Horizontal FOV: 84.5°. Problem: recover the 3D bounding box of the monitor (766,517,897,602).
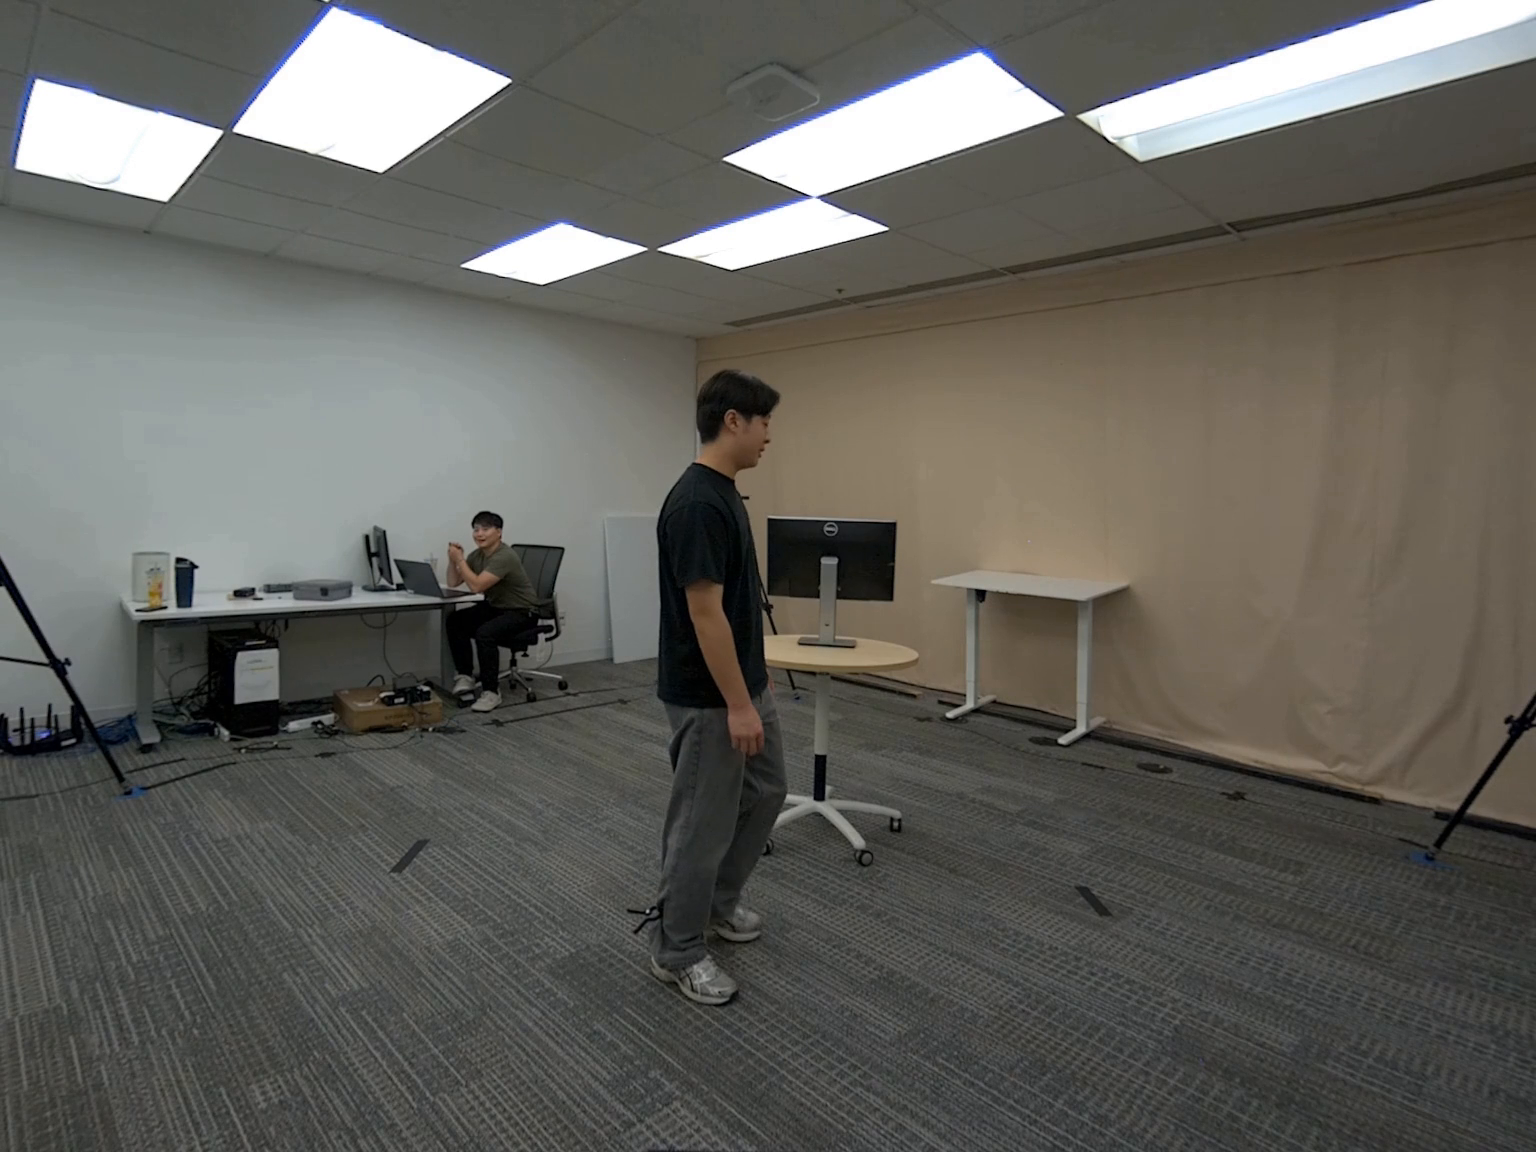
[{"bbox_3d":[0.256,0.030,3.642,0.567,0.566,0.220,3,0,11],"label":"monitor"}]
